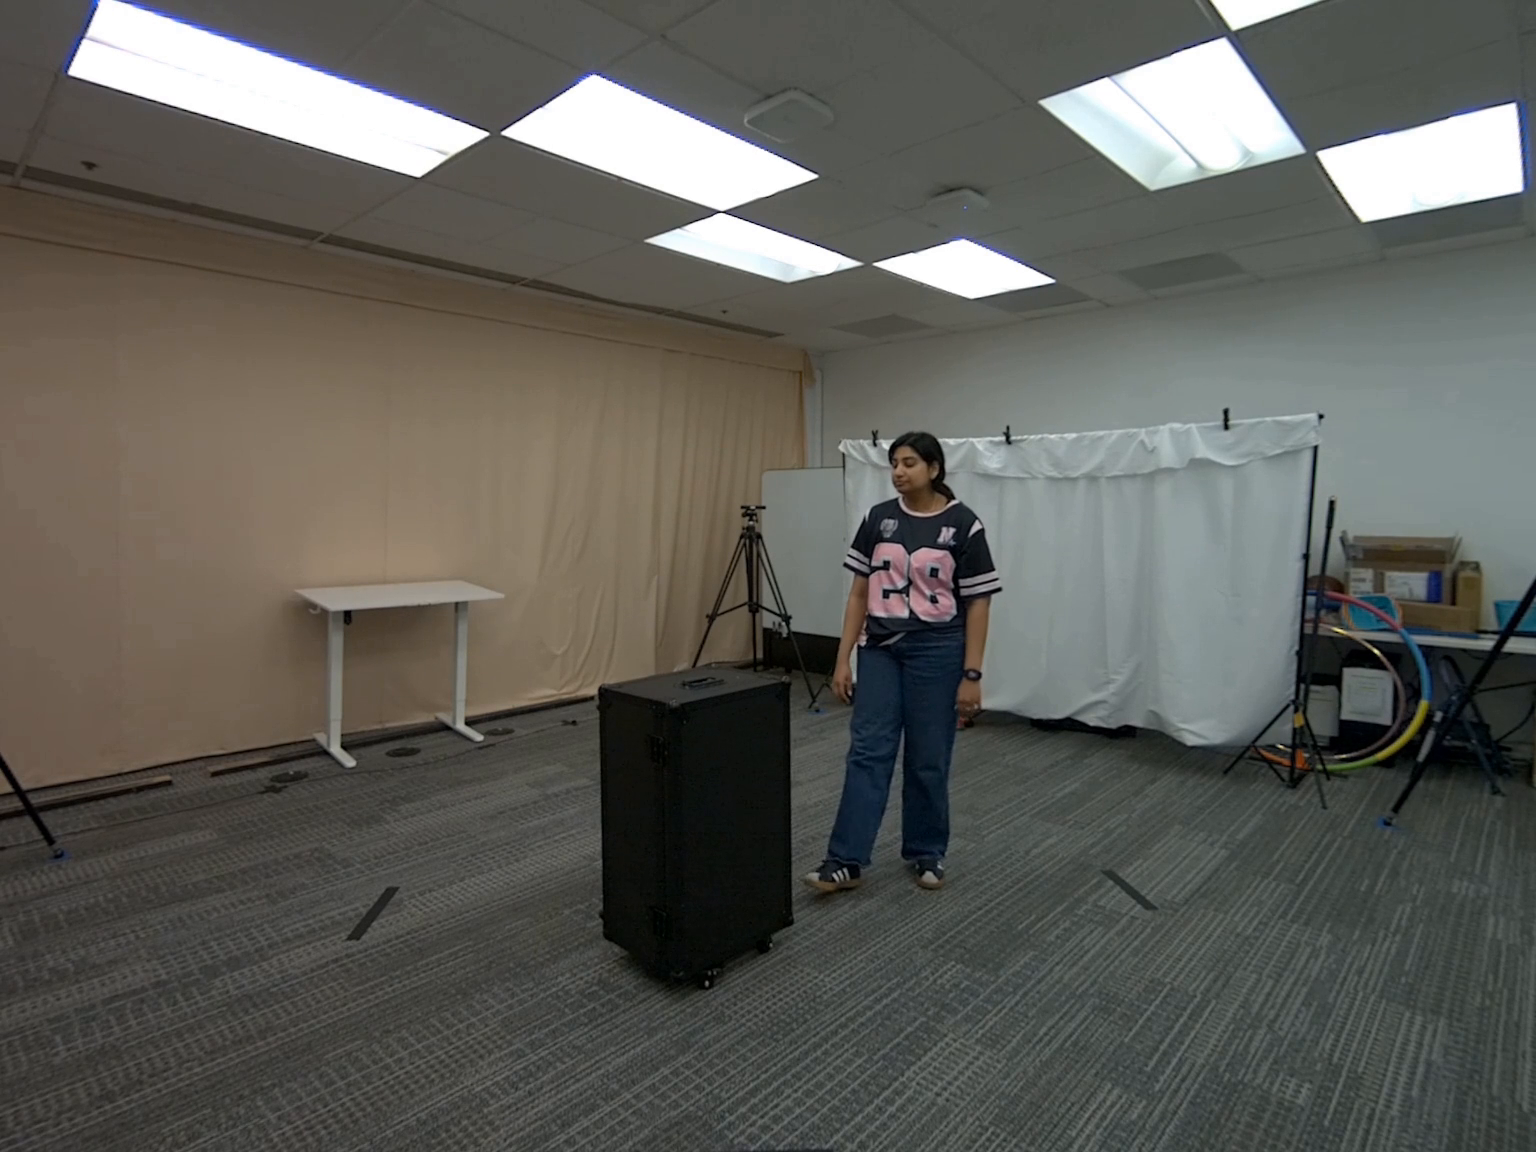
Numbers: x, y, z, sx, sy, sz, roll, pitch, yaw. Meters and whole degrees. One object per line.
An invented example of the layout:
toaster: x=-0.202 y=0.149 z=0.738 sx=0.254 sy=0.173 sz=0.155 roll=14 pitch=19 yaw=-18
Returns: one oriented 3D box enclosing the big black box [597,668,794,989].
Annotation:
big black box: x=-0.224 y=0.756 z=2.596 sx=0.398 sy=0.867 sz=0.507 roll=2 pitch=3 yaw=44
